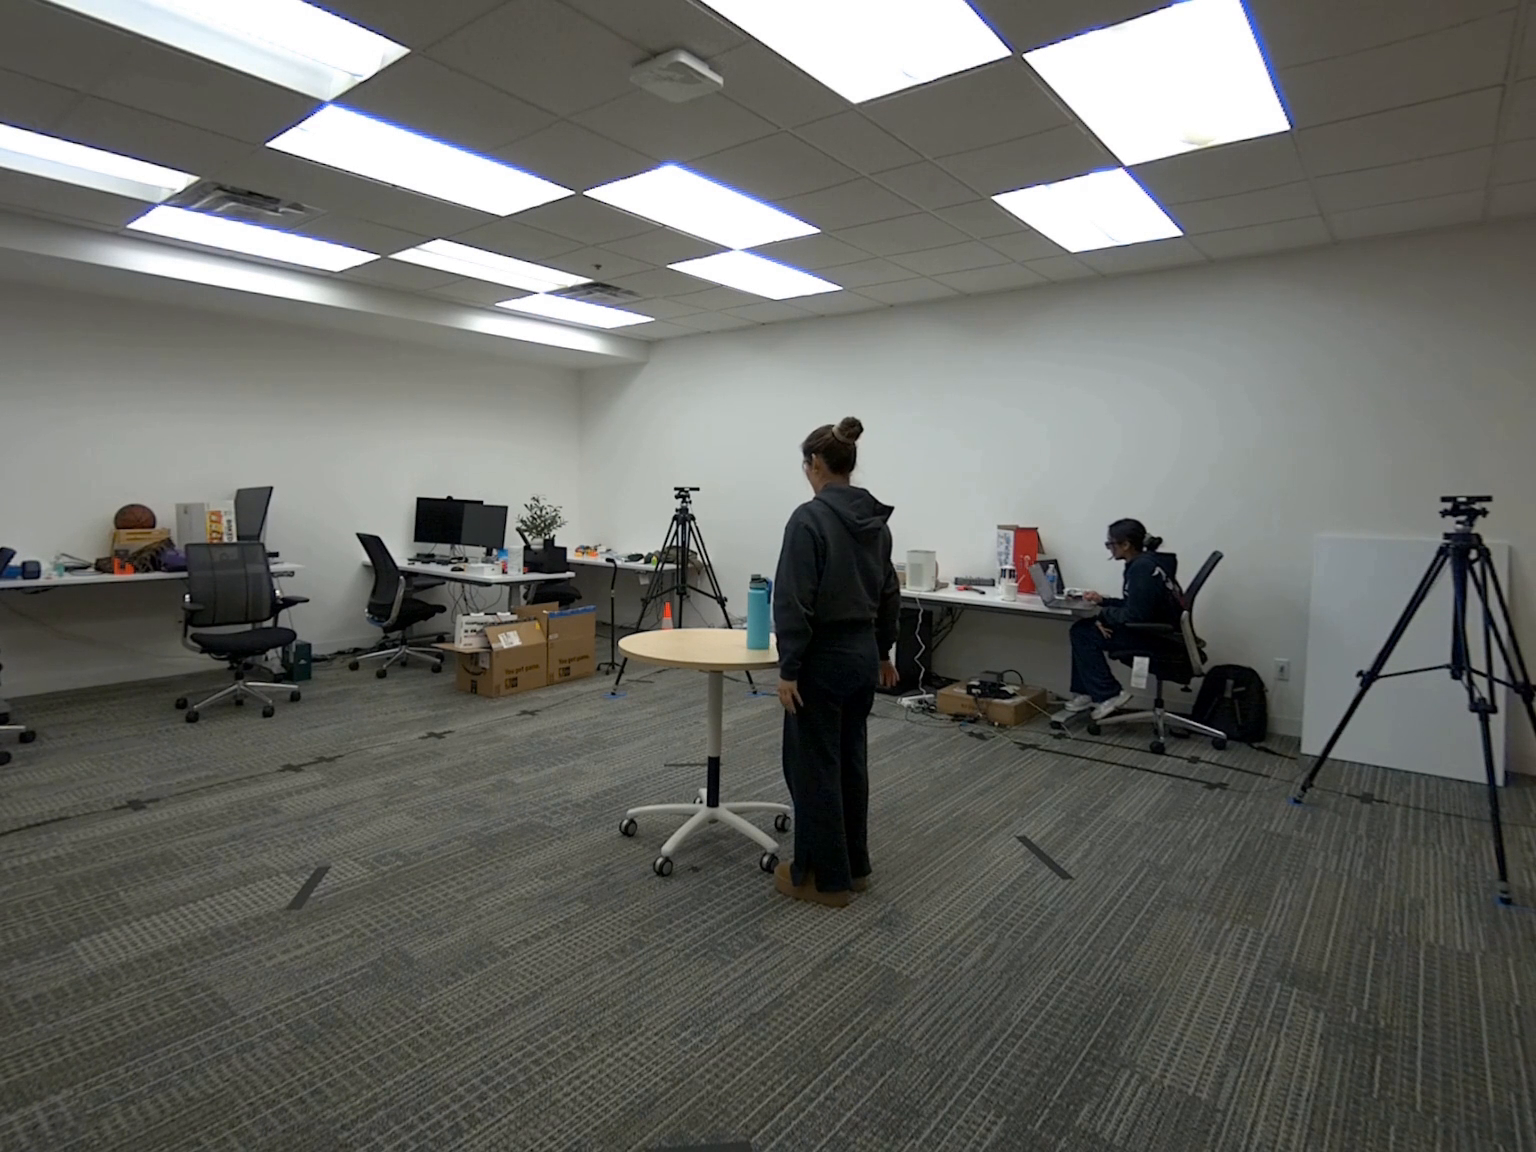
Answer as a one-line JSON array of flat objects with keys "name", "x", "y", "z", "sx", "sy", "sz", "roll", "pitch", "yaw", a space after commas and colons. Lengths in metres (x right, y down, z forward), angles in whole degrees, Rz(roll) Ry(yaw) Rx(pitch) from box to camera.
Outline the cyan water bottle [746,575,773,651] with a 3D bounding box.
[{"name": "cyan water bottle", "x": -0.037, "y": 0.134, "z": 3.258, "sx": 0.092, "sy": 0.283, "sz": 0.093, "roll": 5, "pitch": 2, "yaw": -2}]
